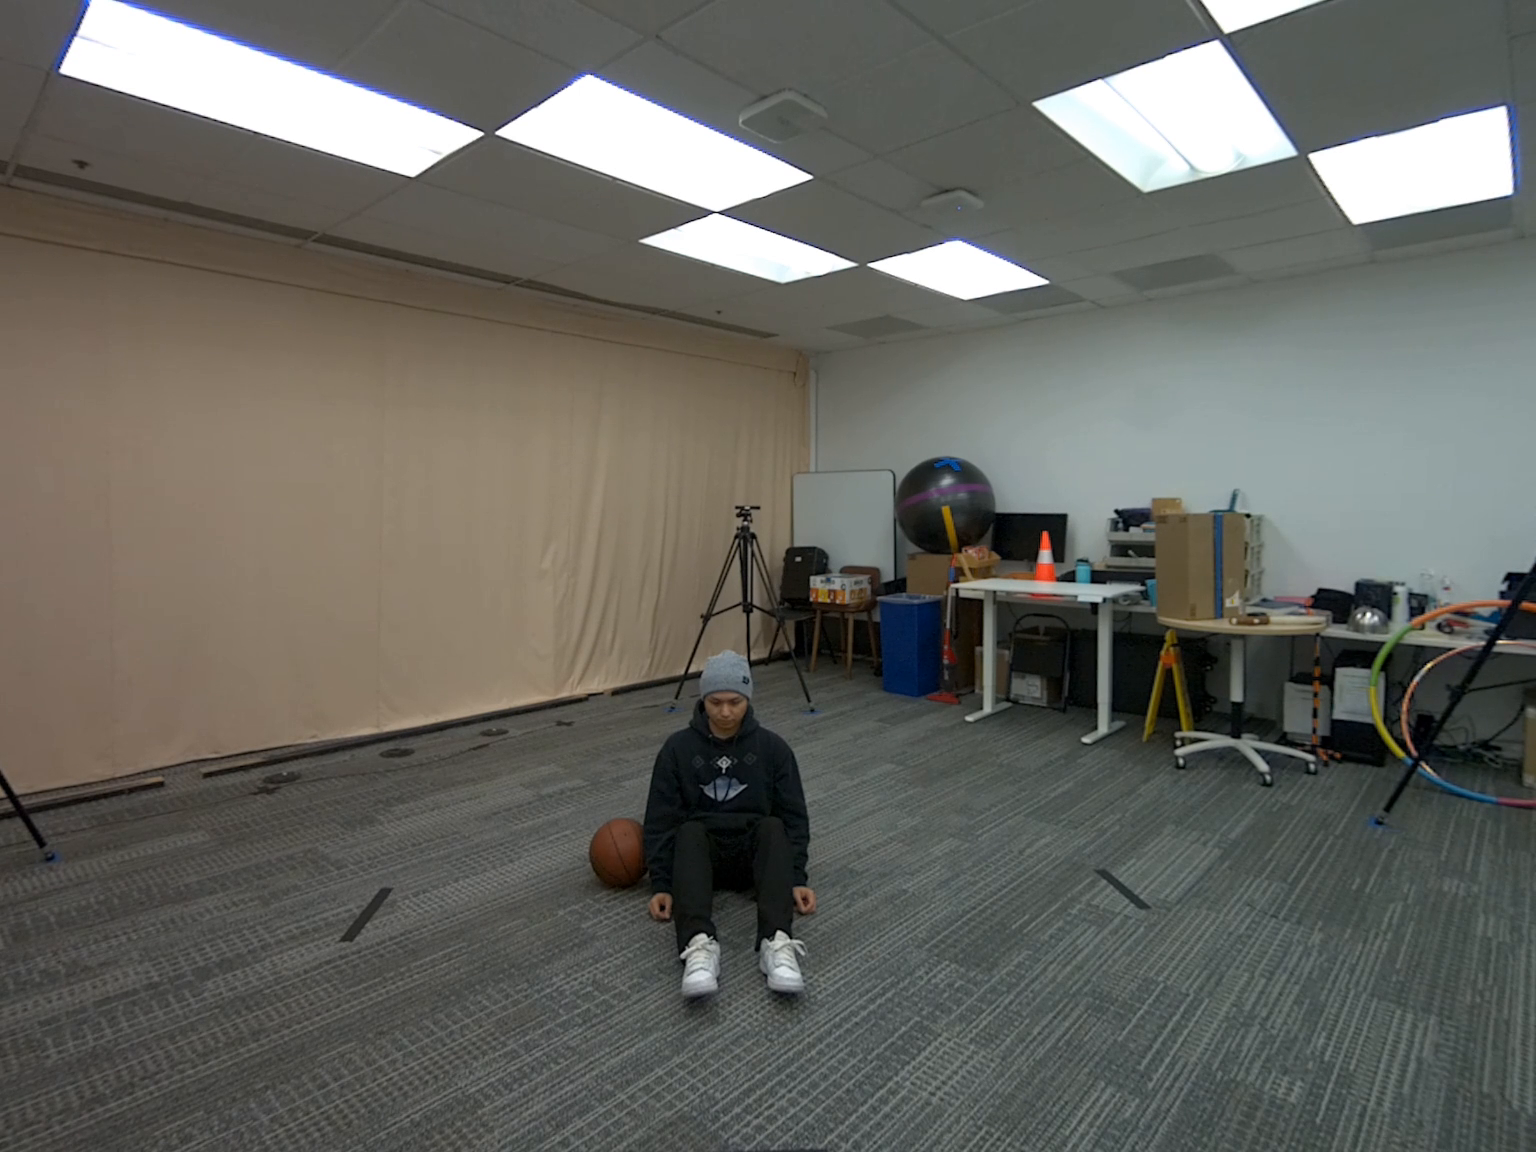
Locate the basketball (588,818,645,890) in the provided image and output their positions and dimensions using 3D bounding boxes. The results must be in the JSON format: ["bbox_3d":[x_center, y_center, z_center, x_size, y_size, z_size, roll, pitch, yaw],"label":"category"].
[{"bbox_3d":[-0.536,1.016,3.121,0.236,0.235,0.237,0,4,-2],"label":"basketball"}]
